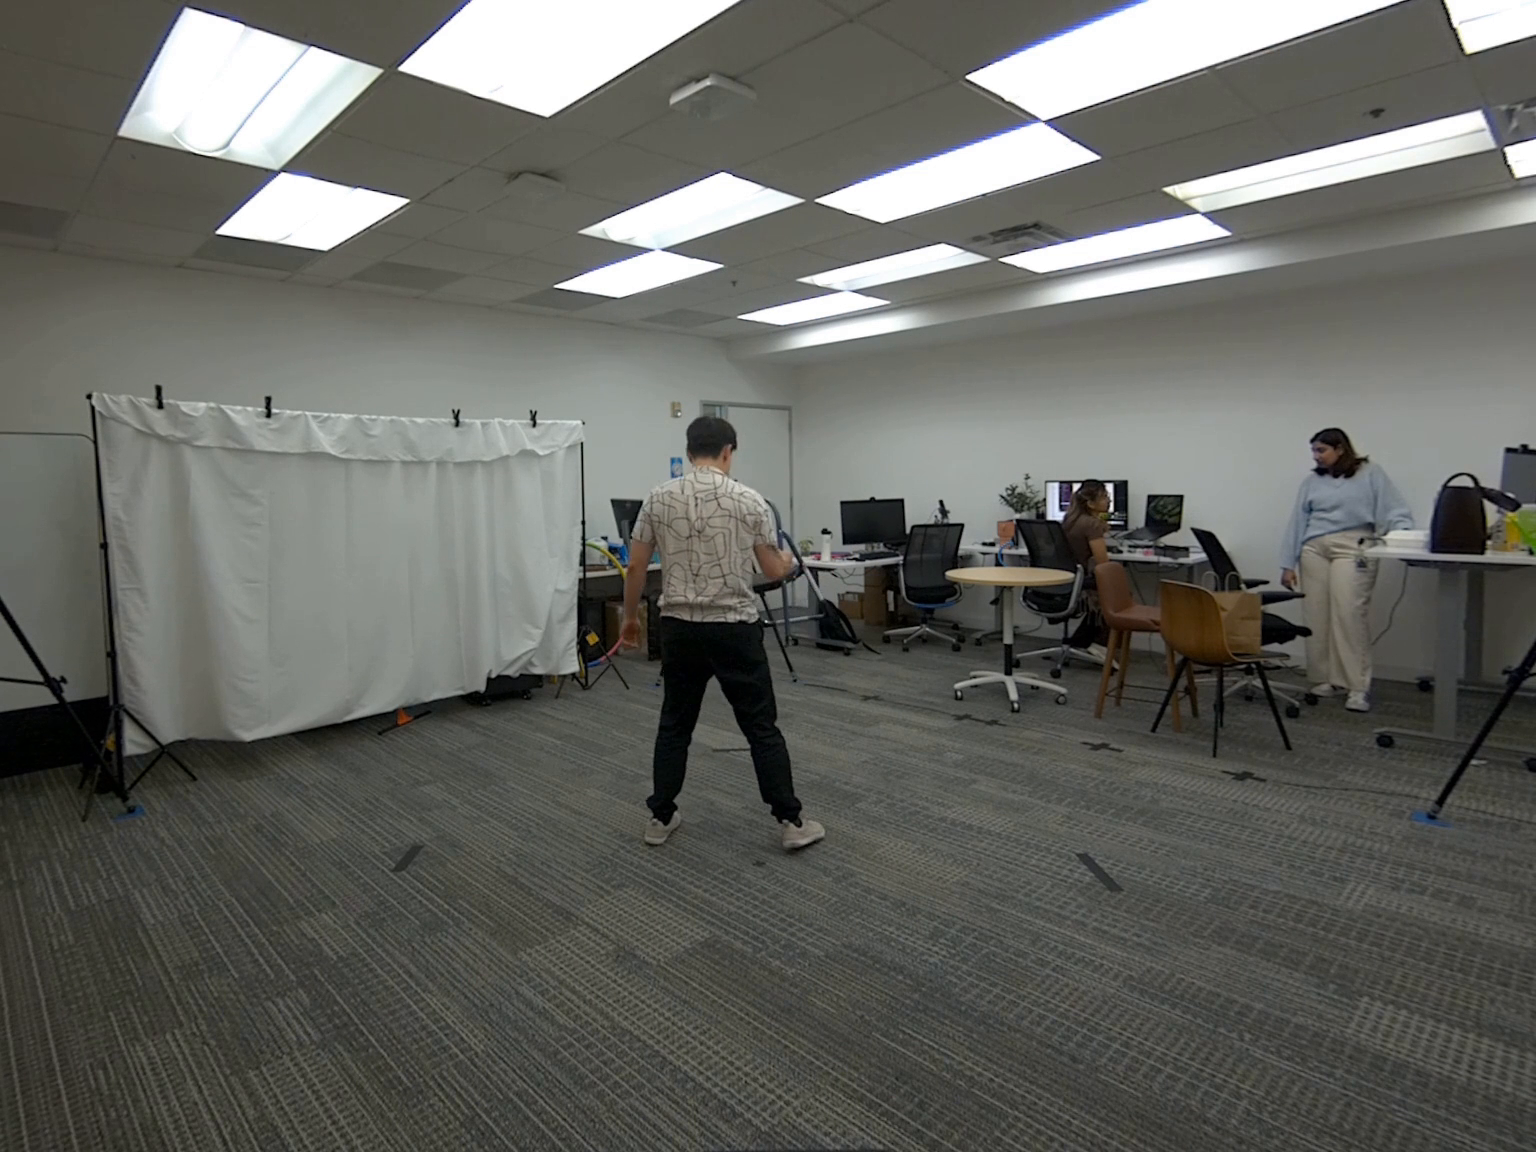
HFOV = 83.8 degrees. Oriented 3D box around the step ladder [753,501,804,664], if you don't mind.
[{"bbox_3d":[-0.059,-0.021,3.706,0.440,0.602,0.344,-12,8,42],"label":"step ladder"}]
